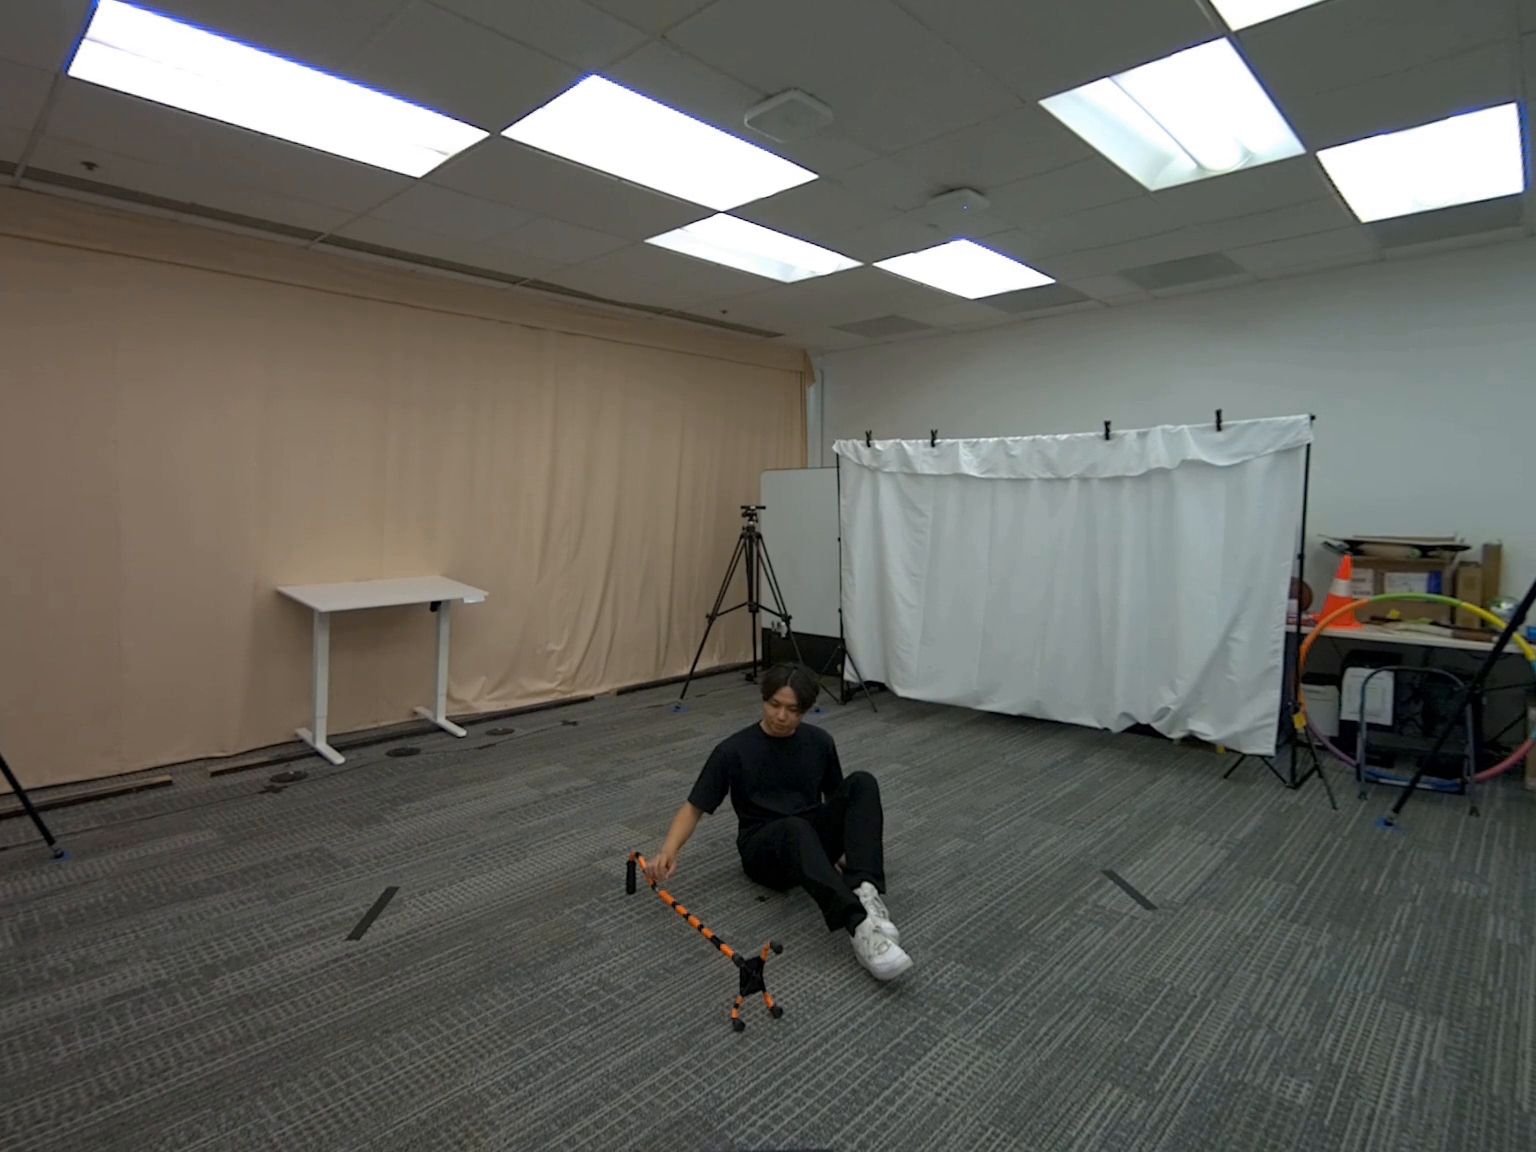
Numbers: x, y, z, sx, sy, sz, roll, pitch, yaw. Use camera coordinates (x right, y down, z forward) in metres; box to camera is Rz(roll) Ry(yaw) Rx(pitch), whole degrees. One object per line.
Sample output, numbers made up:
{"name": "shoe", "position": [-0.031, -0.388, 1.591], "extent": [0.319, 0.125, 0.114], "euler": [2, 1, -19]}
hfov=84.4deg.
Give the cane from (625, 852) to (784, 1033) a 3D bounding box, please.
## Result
{"name": "cane", "position": [-0.263, 1.060, 2.646], "extent": [0.147, 0.206, 0.935], "euler": [-3, 5, -31]}
